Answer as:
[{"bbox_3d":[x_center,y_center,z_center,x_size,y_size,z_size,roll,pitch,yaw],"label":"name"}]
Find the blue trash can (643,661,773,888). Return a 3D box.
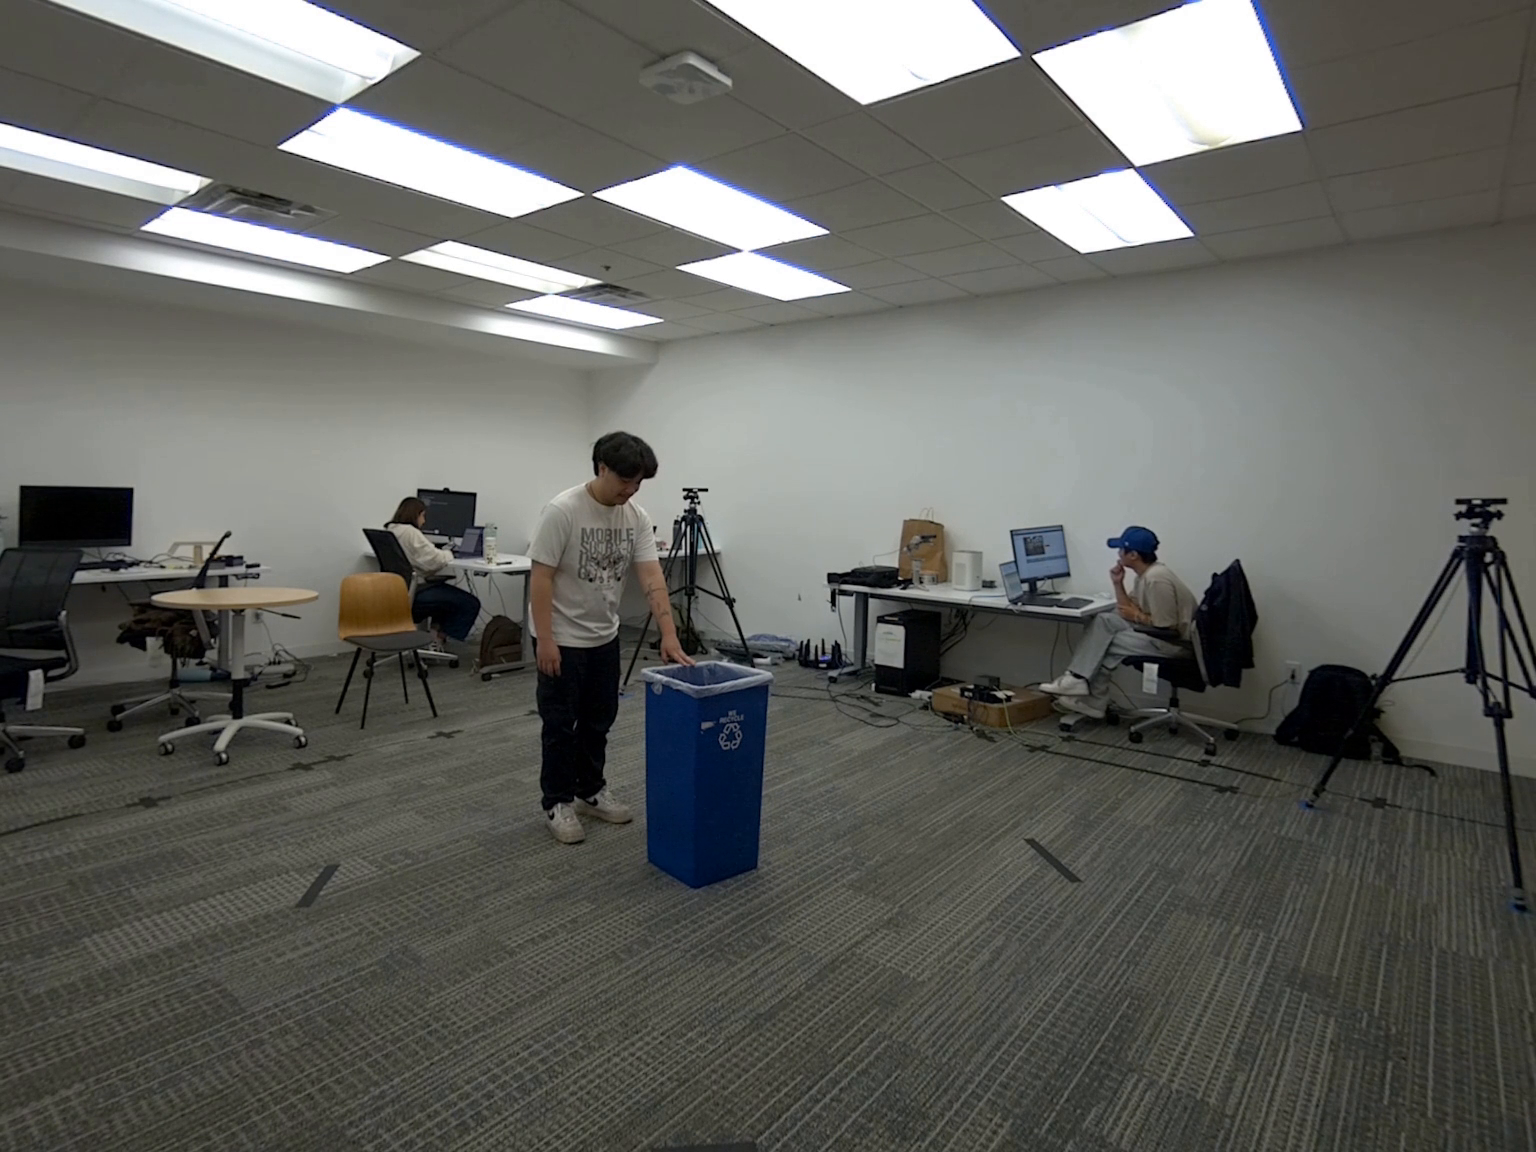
[{"bbox_3d":[-0.240,0.706,3.145,0.363,0.711,0.391,-2,4,-41],"label":"blue trash can"}]
